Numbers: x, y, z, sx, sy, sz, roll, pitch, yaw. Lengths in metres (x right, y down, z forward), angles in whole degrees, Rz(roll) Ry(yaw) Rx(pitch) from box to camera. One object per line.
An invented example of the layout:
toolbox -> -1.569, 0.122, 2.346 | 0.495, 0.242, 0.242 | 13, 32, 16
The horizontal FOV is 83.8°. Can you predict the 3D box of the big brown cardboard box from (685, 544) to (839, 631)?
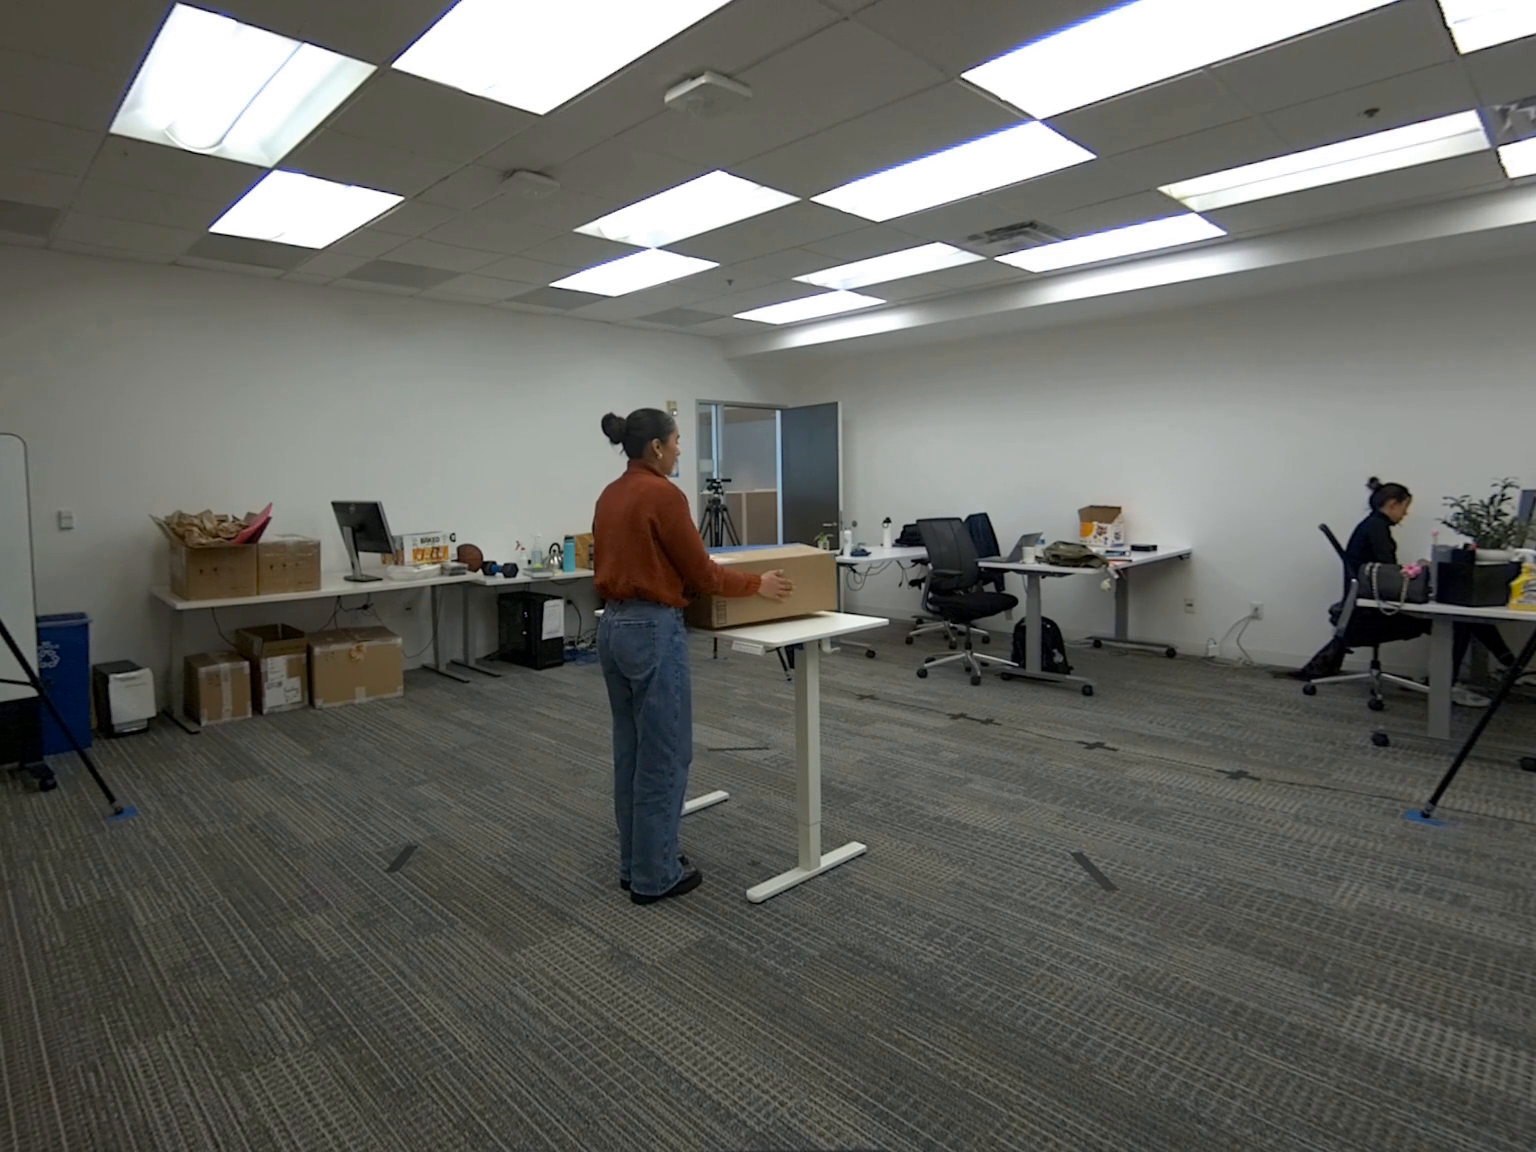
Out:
big brown cardboard box -> -0.089, 0.028, 3.168 | 0.574, 0.232, 0.430 | -5, 6, -36
